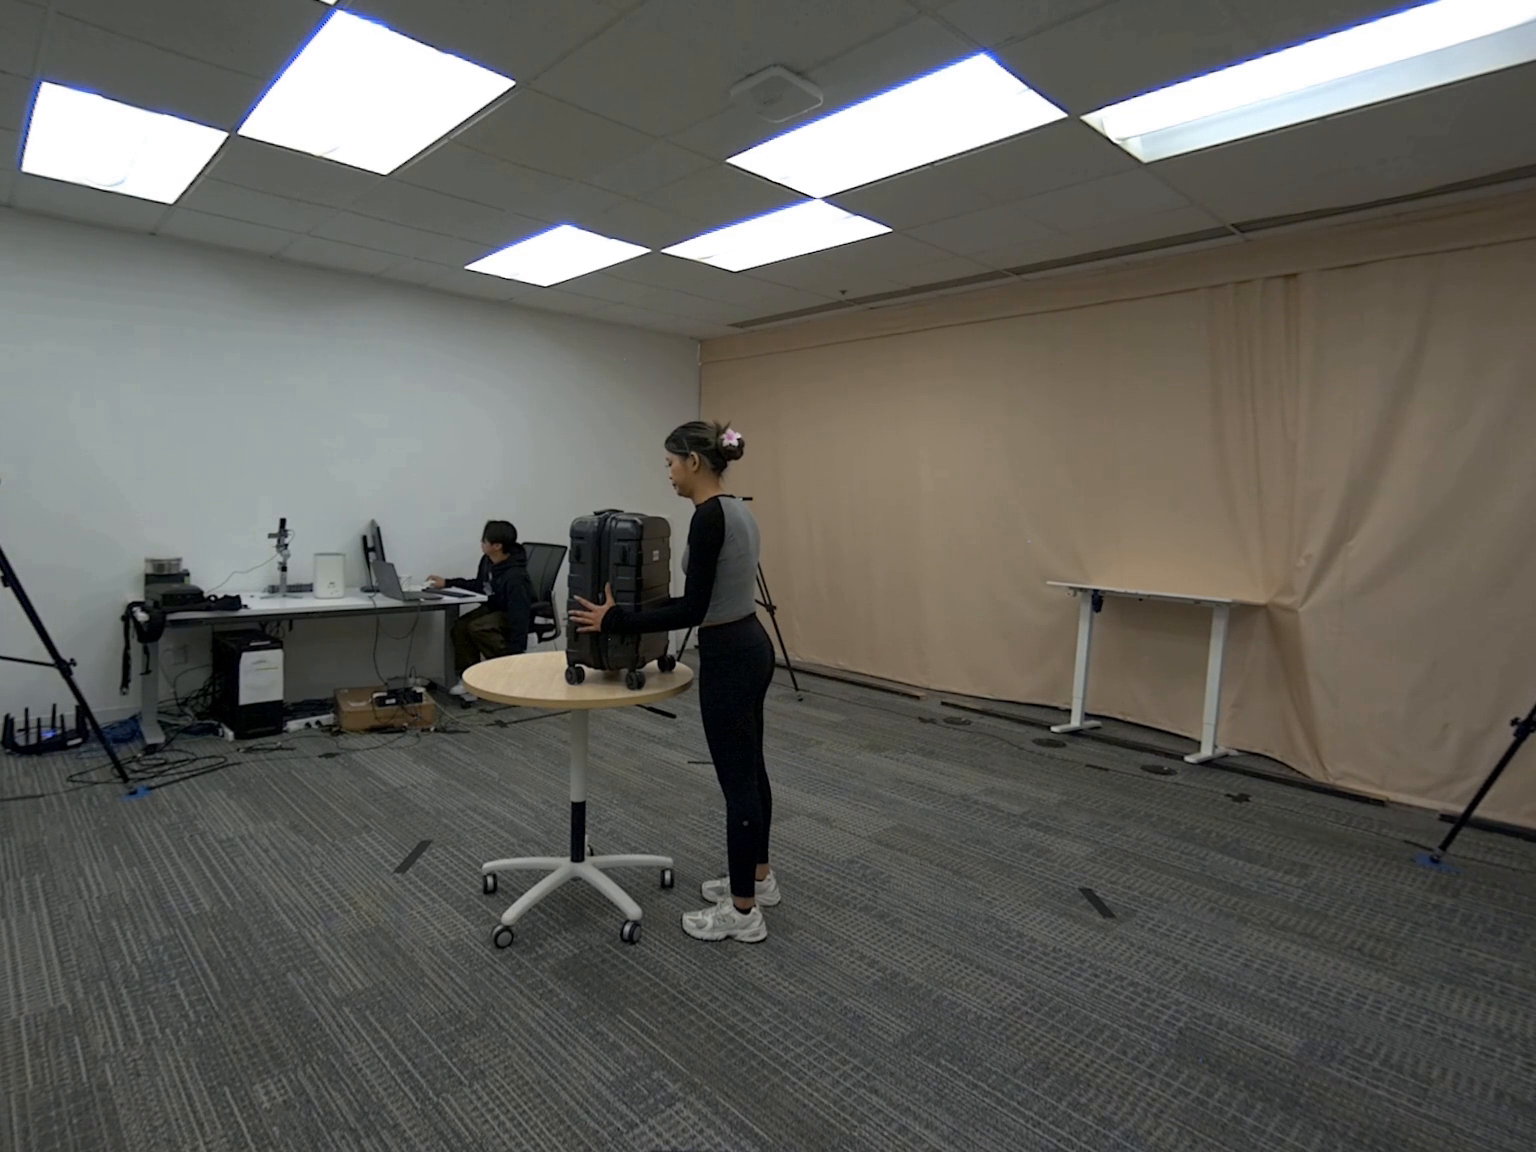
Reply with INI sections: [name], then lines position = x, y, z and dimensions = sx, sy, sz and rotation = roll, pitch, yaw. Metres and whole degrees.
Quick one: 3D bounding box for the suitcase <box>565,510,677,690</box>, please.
[suitcase]
position = -0.487, 0.058, 2.796
dimensions = 0.251, 0.548, 0.372
rotation = 2, 3, 14
